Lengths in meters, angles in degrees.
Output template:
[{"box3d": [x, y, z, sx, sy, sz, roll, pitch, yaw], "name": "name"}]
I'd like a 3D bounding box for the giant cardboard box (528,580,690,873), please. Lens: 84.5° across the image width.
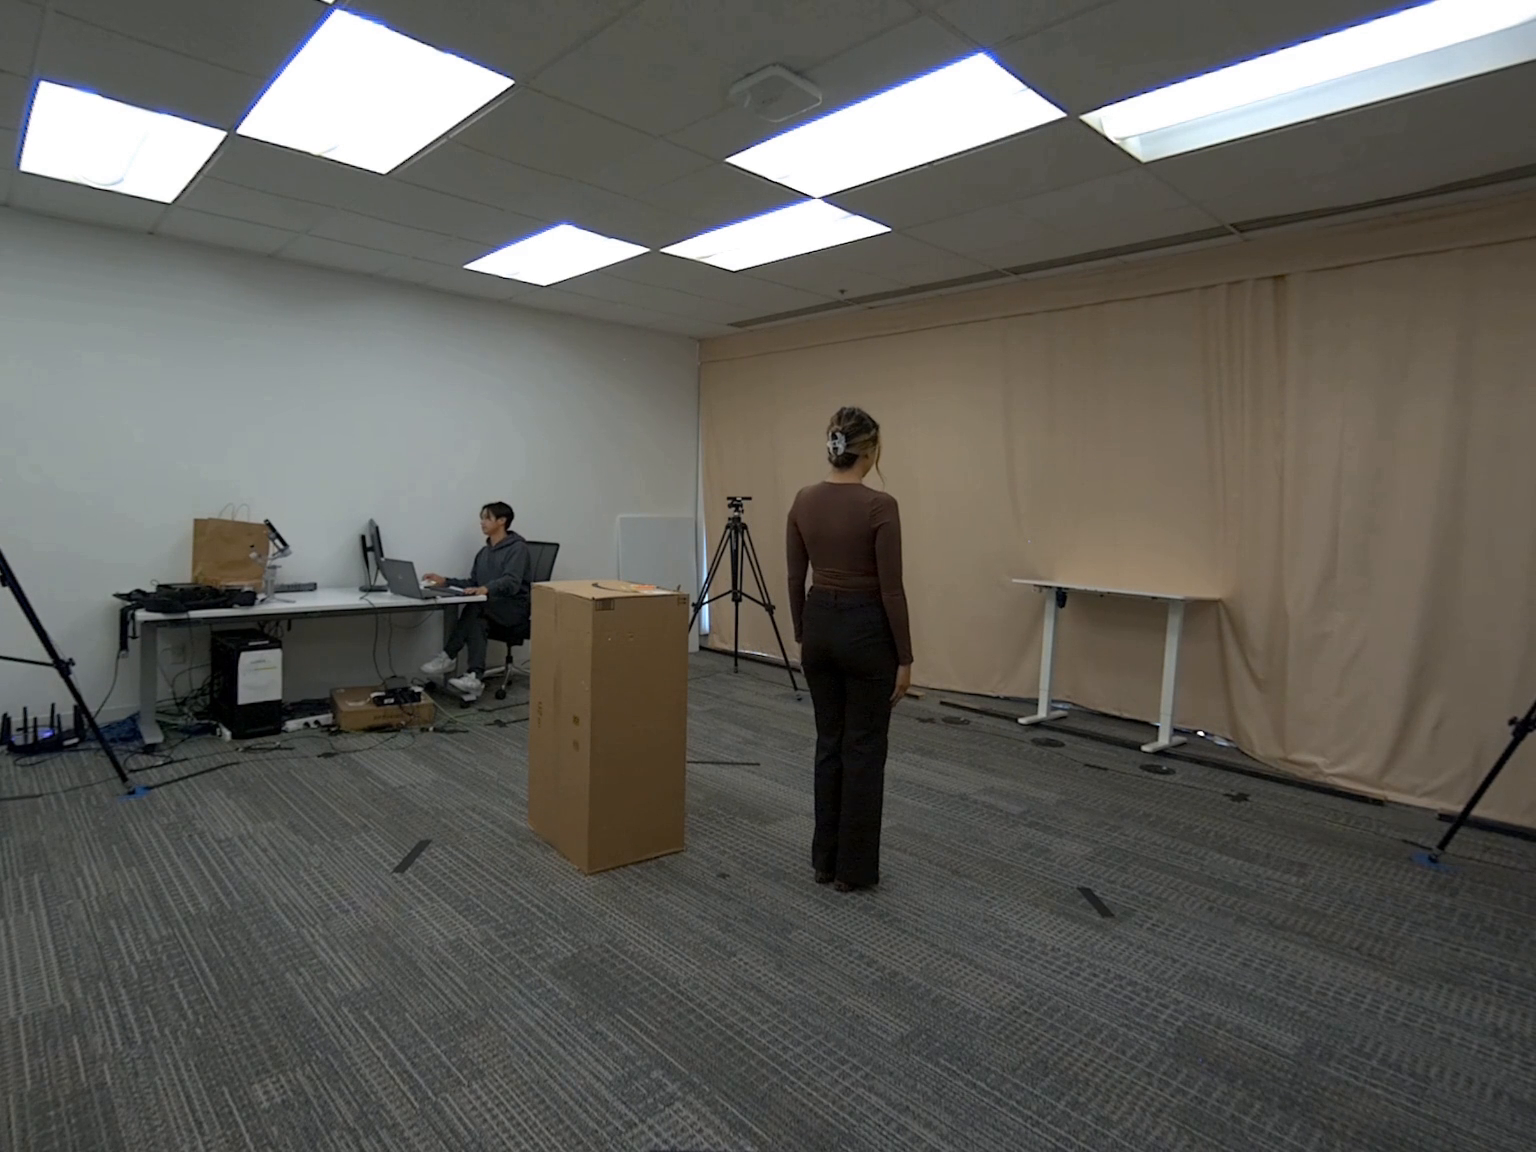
[{"box3d": [-0.663, 0.558, 3.410, 0.437, 1.025, 0.598, 0, 4, -36], "name": "giant cardboard box"}]
